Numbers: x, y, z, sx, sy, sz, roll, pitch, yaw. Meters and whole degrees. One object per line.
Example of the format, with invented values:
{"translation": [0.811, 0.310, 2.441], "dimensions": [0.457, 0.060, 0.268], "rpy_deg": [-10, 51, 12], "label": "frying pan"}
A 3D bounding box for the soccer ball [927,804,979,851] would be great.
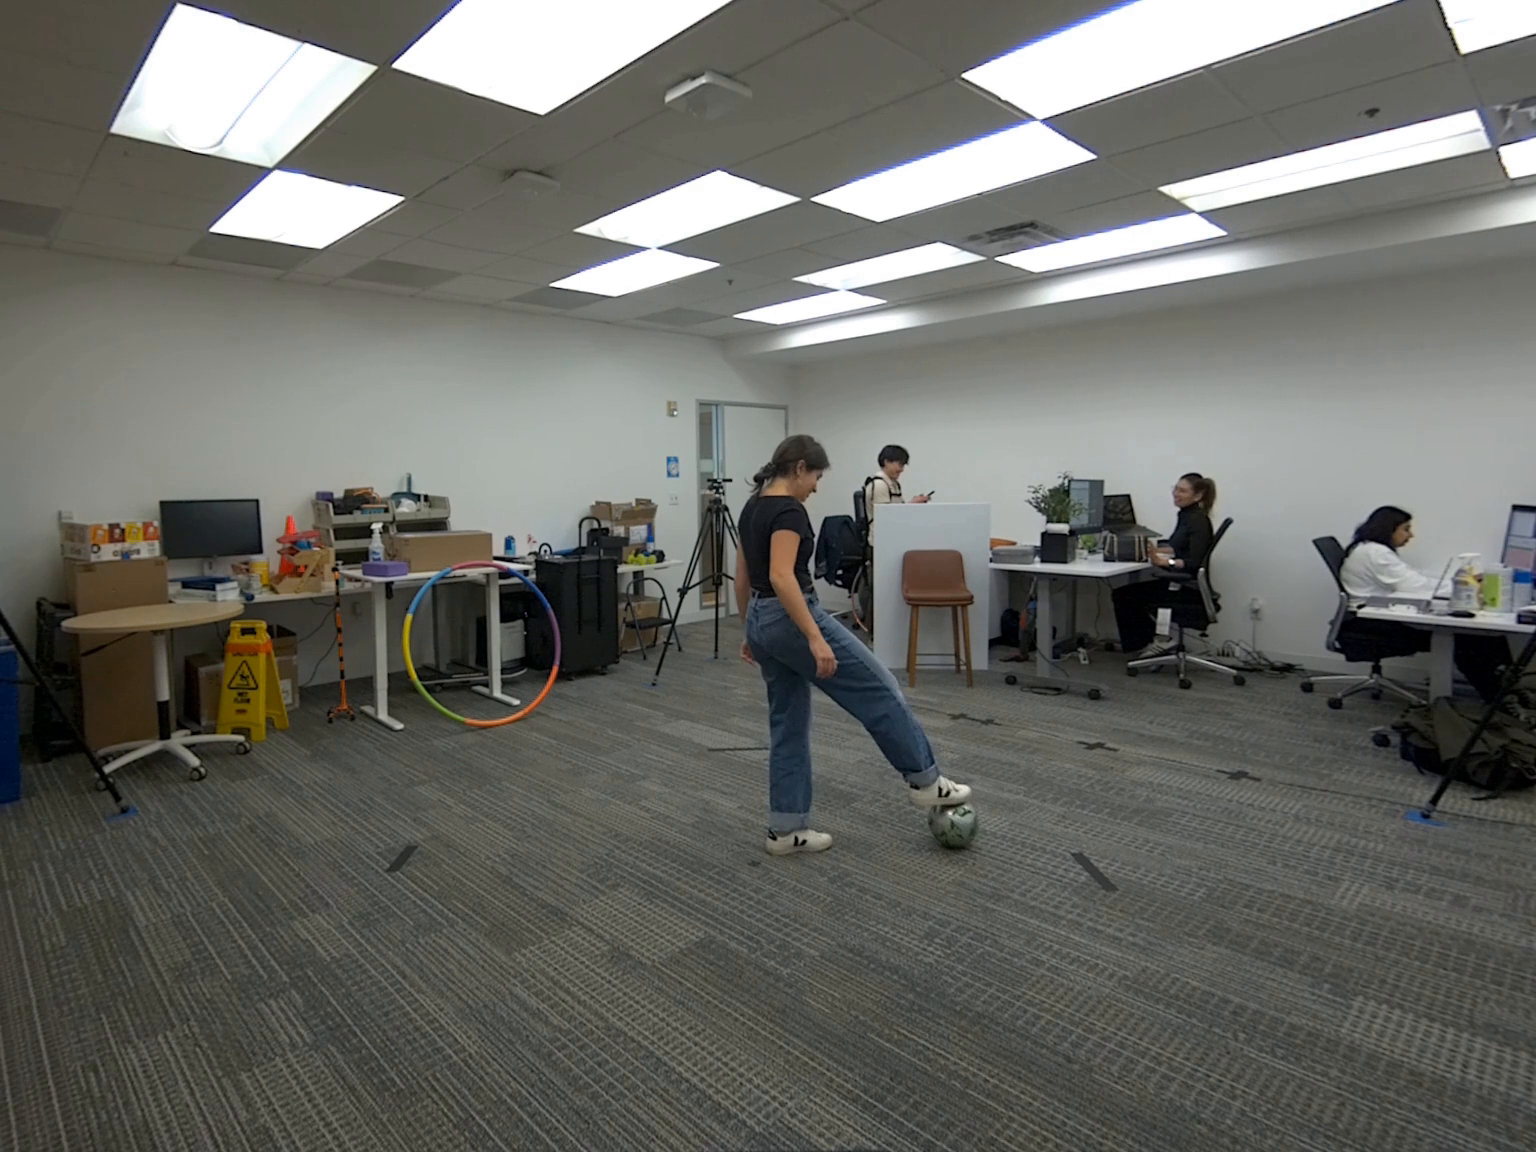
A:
{"translation": [0.682, 0.923, 3.219], "dimensions": [0.187, 0.187, 0.188], "rpy_deg": [-1, 5, -2], "label": "soccer ball"}
